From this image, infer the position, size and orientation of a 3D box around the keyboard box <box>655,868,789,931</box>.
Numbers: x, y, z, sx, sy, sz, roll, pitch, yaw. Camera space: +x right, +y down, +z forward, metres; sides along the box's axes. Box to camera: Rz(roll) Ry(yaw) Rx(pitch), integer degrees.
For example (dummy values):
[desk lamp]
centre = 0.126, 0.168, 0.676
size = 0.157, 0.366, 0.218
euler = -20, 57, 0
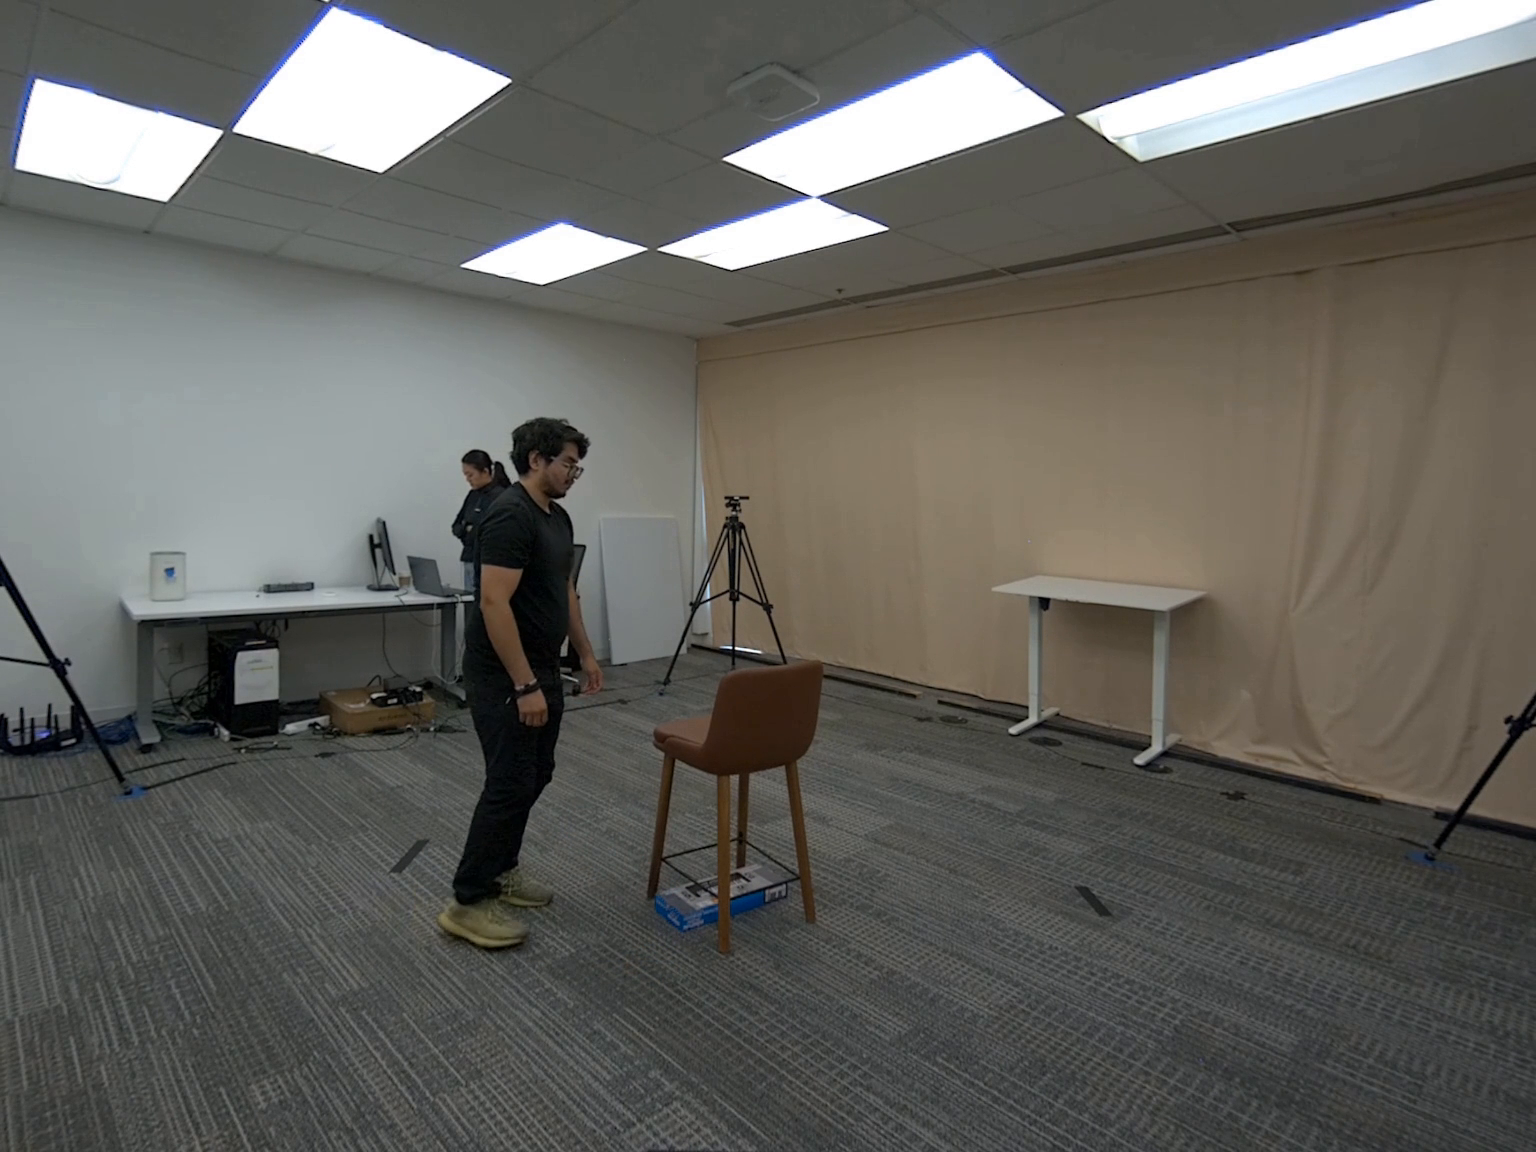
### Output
[keyboard box]
centre = -0.166, 1.097, 2.877
size = 0.427, 0.059, 0.180
euler = -3, 7, -37
